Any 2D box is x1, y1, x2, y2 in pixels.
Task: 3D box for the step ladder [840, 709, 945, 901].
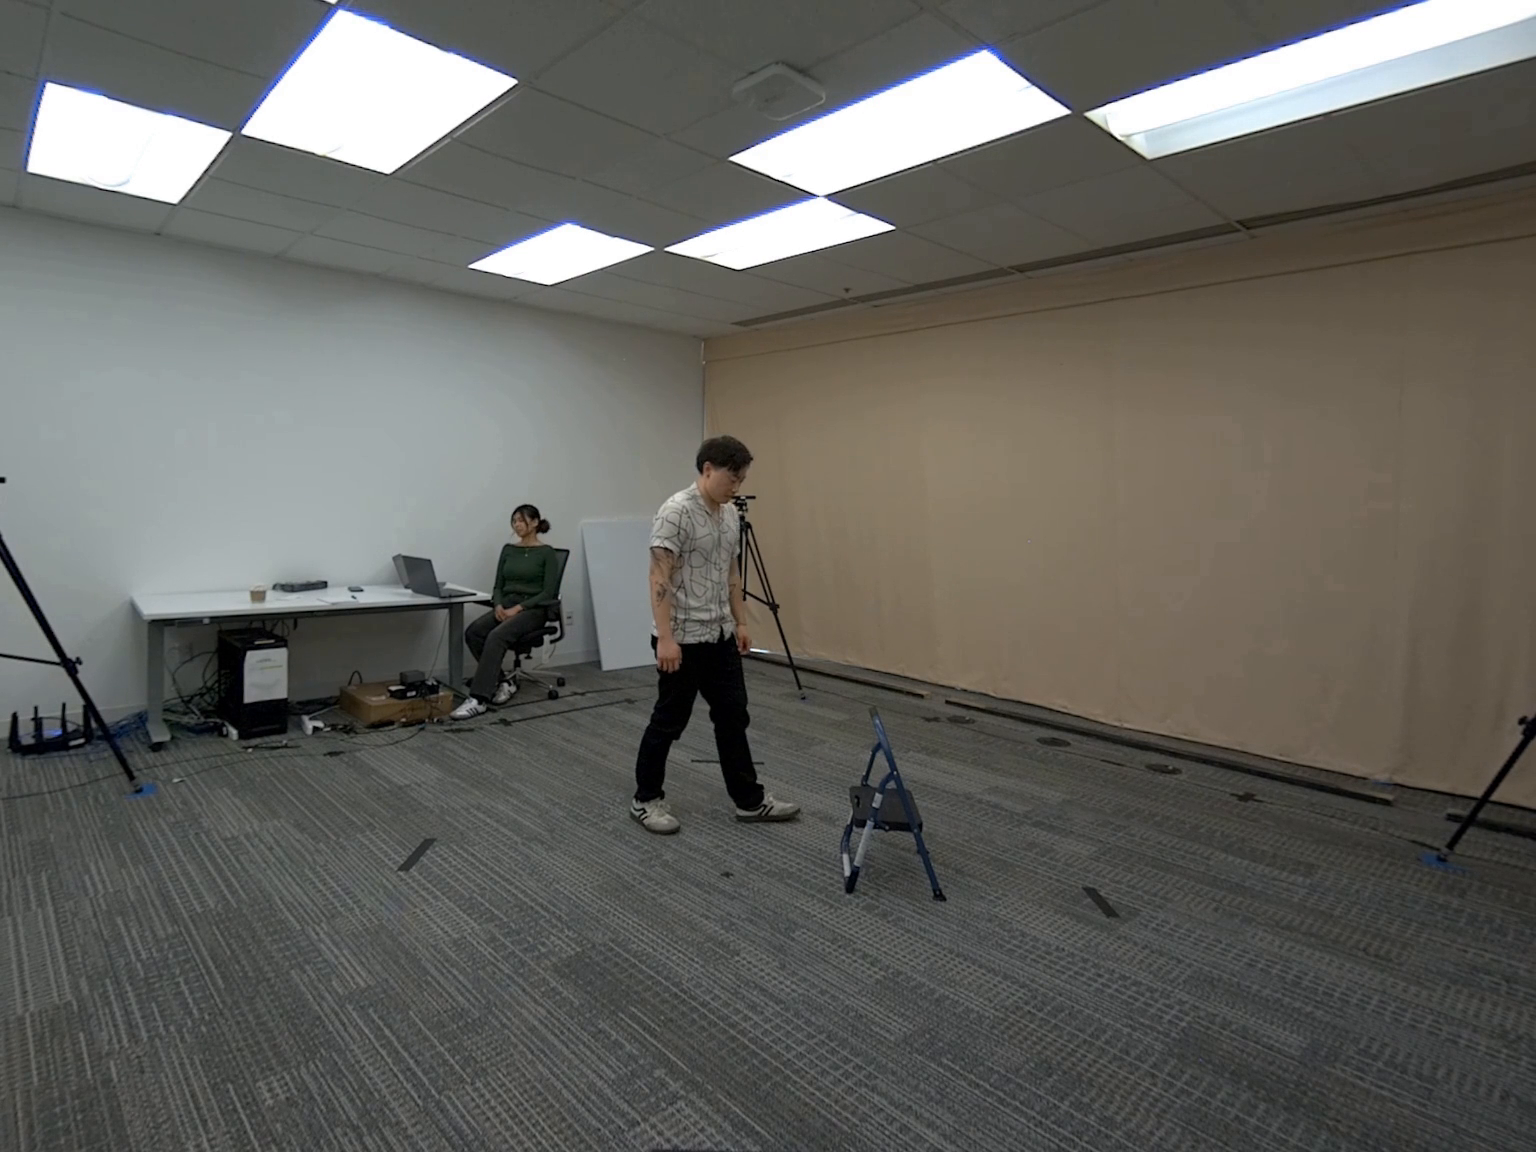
[{"bbox_3d":[0.456,0.814,3.143,0.350,0.604,0.431,2,4,2],"label":"step ladder"}]
